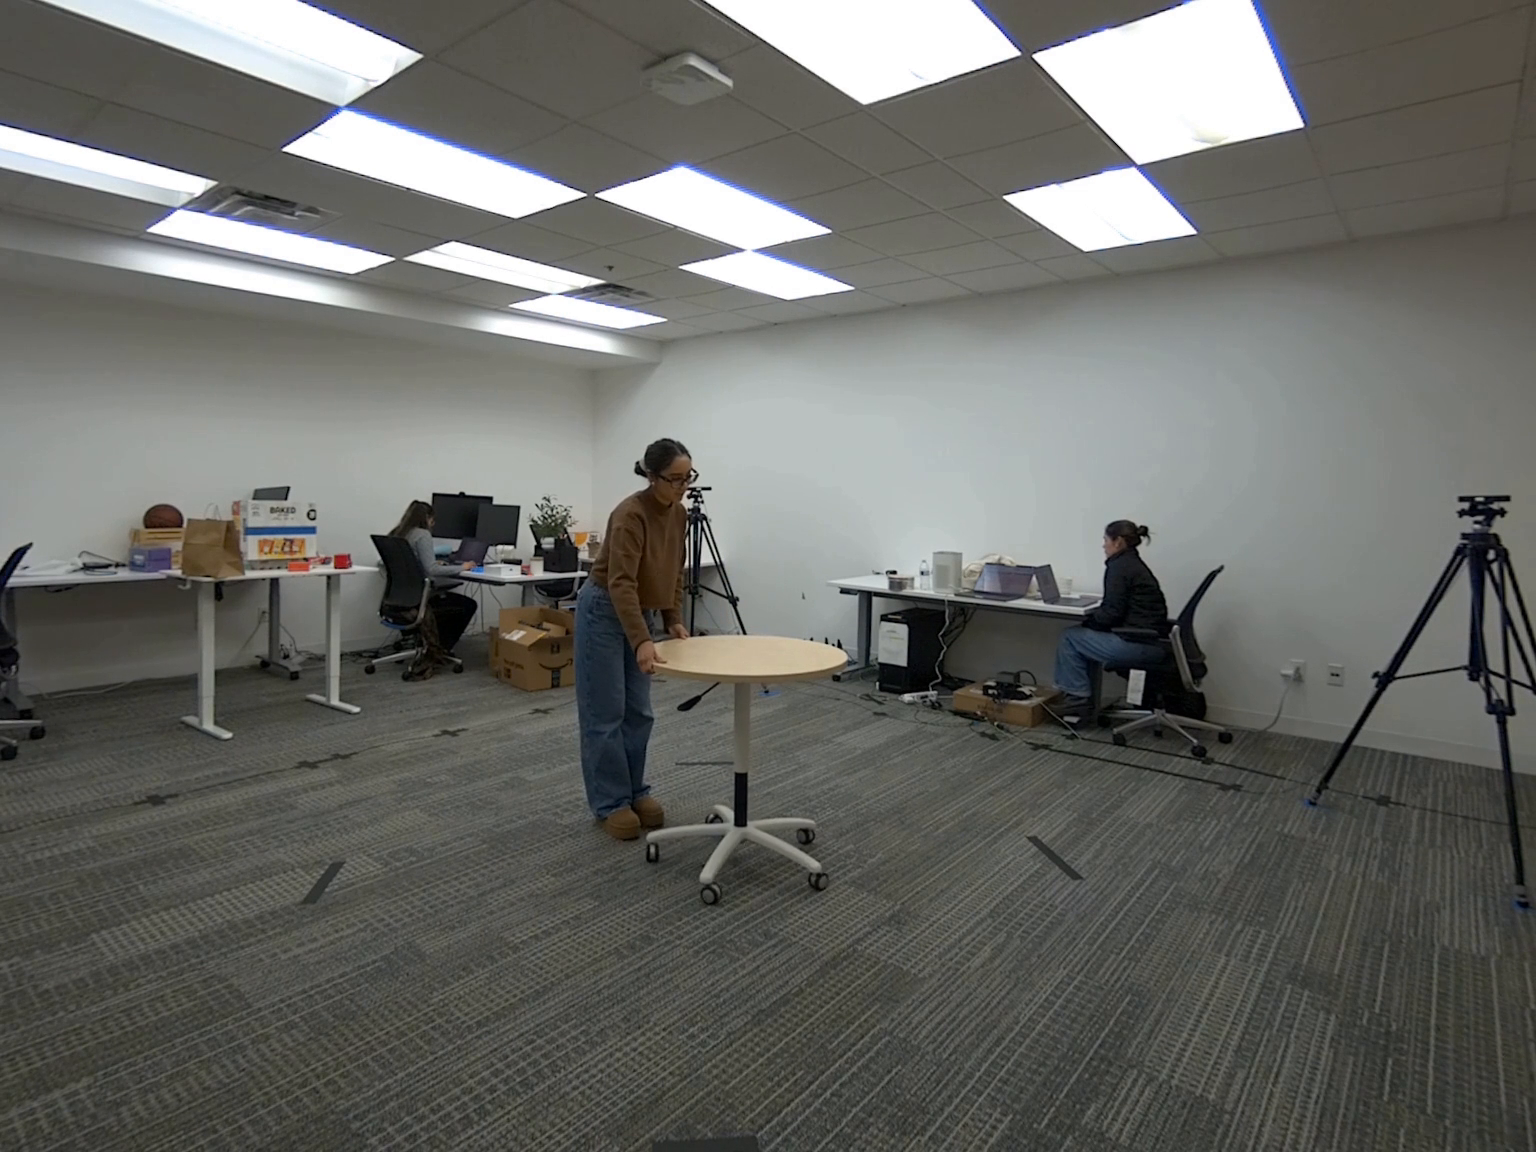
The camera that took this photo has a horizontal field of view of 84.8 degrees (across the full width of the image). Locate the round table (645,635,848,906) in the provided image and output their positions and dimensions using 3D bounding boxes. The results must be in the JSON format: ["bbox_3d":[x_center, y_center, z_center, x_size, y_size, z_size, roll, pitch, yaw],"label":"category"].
[{"bbox_3d":[-0.107,0.674,3.150,0.763,0.791,0.768,1,4,-2],"label":"round table"}]
